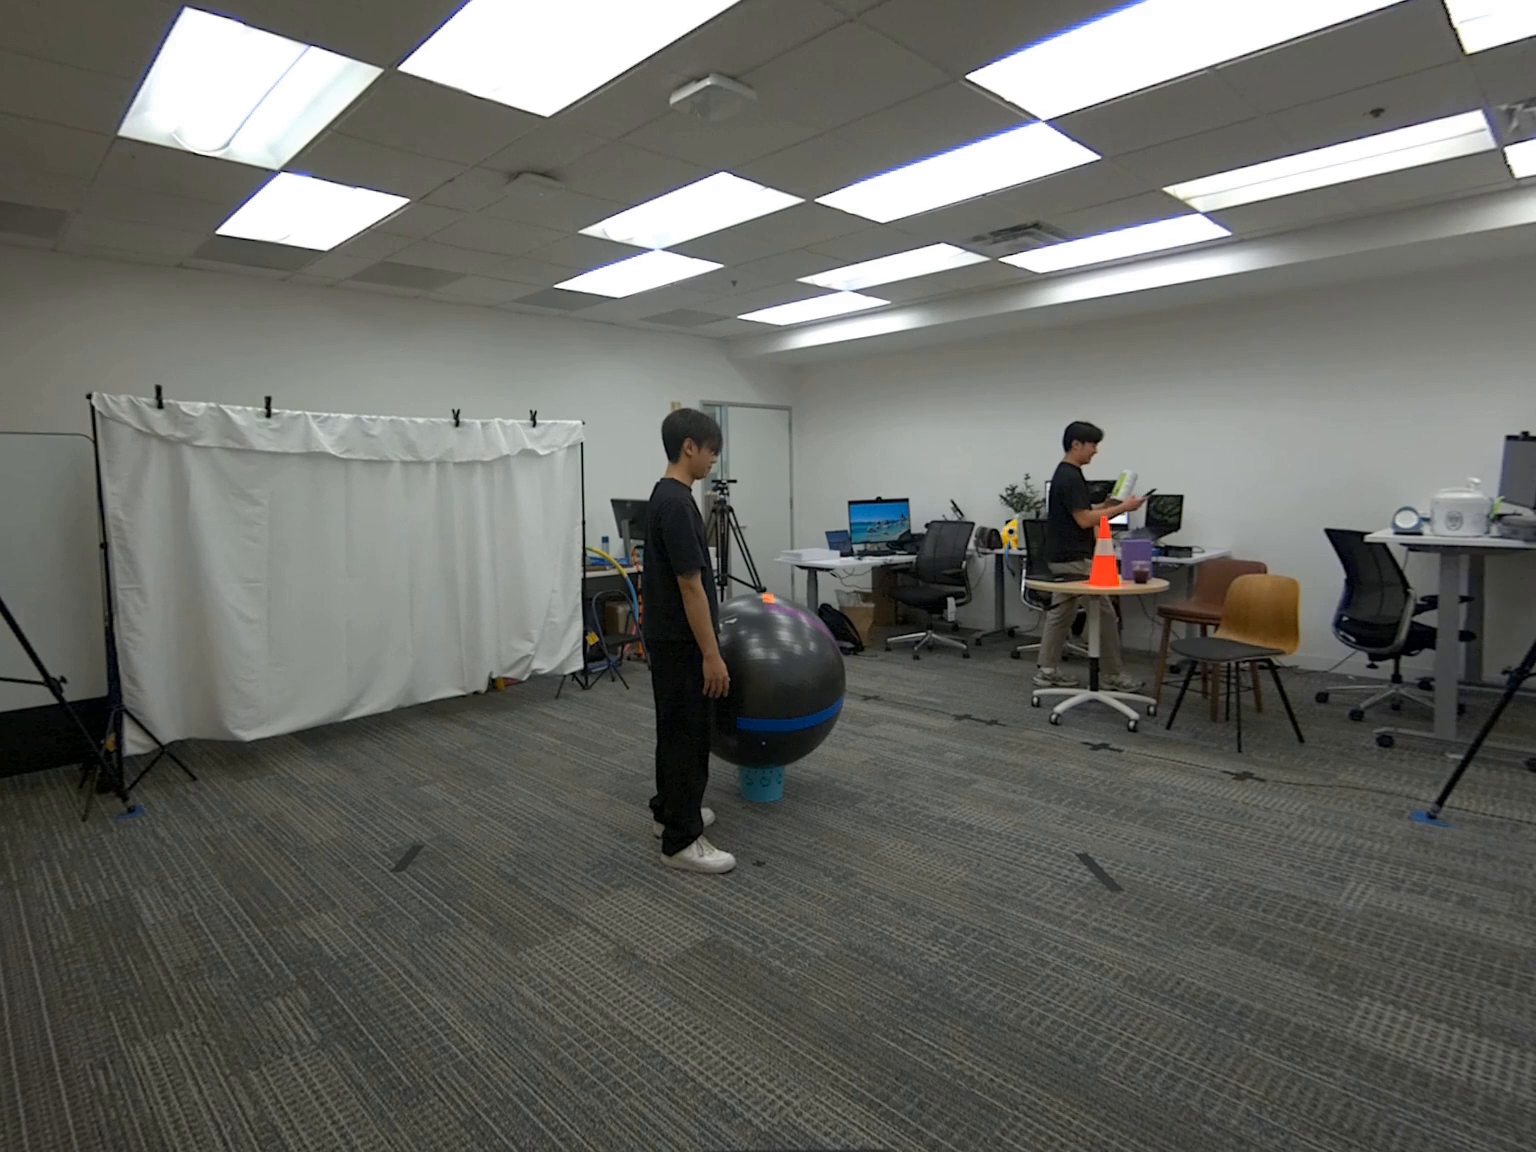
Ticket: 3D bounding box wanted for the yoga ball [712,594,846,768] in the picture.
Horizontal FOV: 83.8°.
[{"bbox_3d":[-0.034,0.466,3.784,0.757,0.755,0.762,-1,5,-2],"label":"yoga ball"}]
